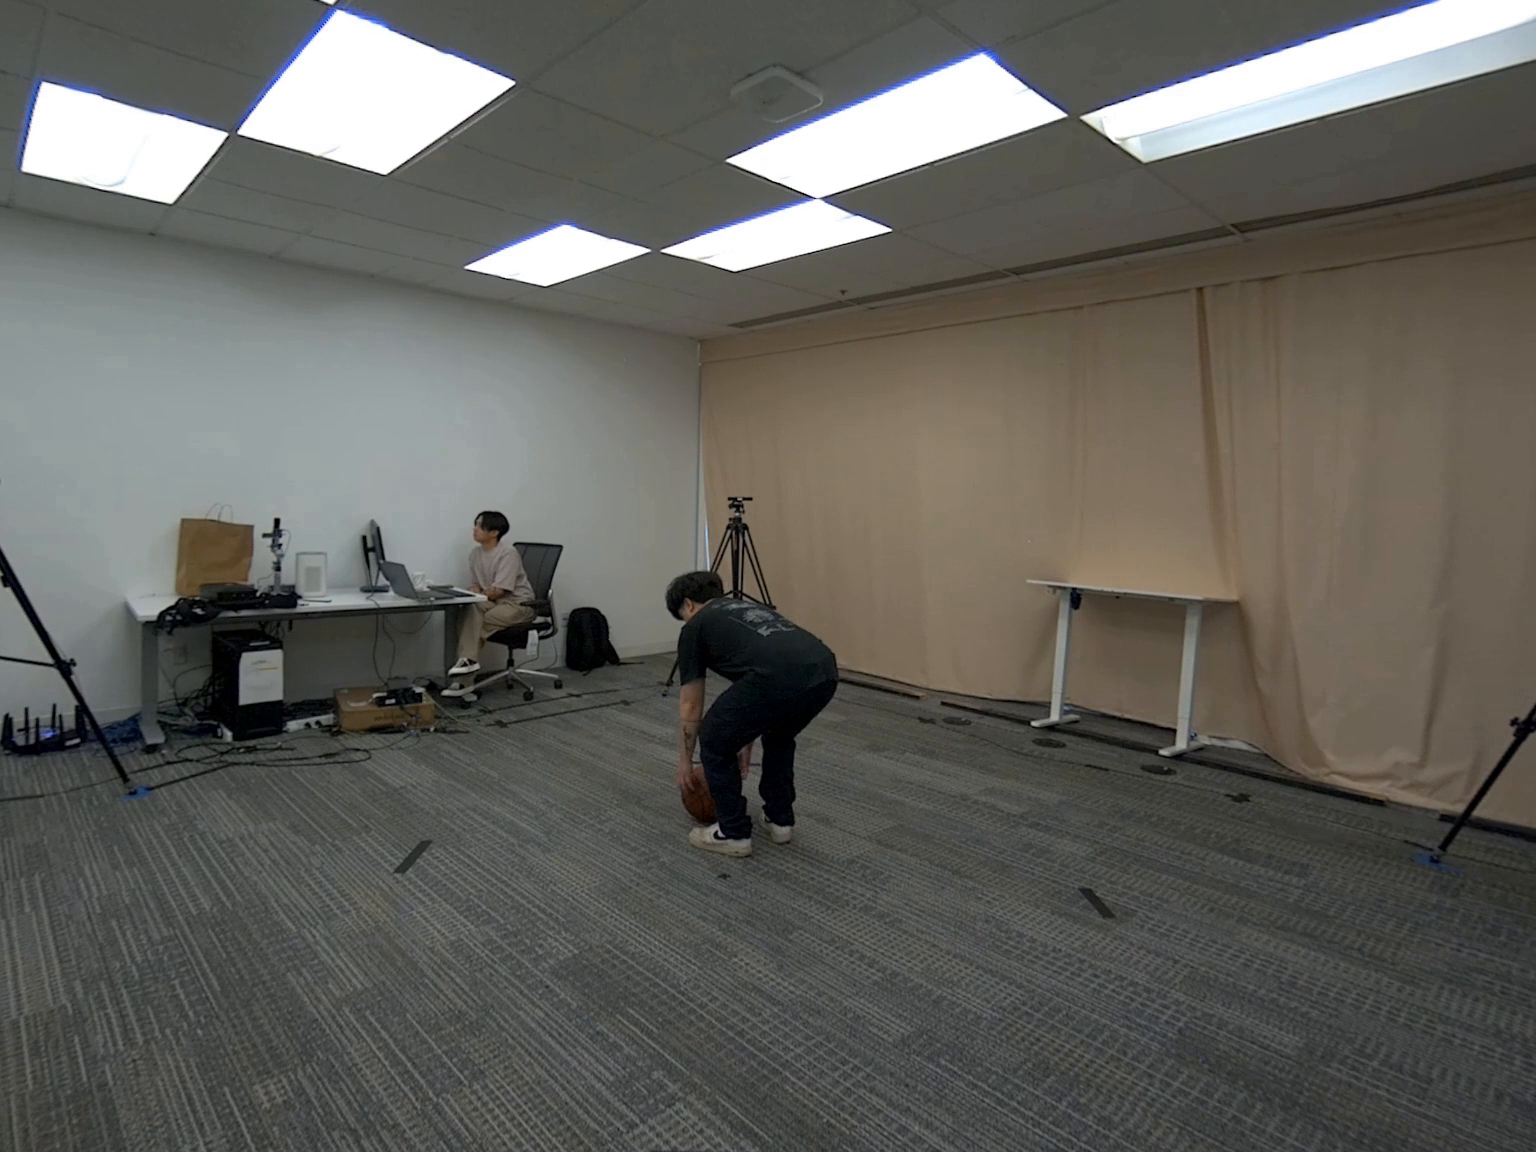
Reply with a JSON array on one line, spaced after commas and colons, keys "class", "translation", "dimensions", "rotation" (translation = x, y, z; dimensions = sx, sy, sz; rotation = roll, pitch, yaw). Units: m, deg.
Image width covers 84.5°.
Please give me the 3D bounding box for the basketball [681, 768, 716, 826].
[{"class": "basketball", "translation": [-0.264, 0.934, 3.653], "dimensions": [0.236, 0.235, 0.237], "rotation": [1, 4, -1]}]
